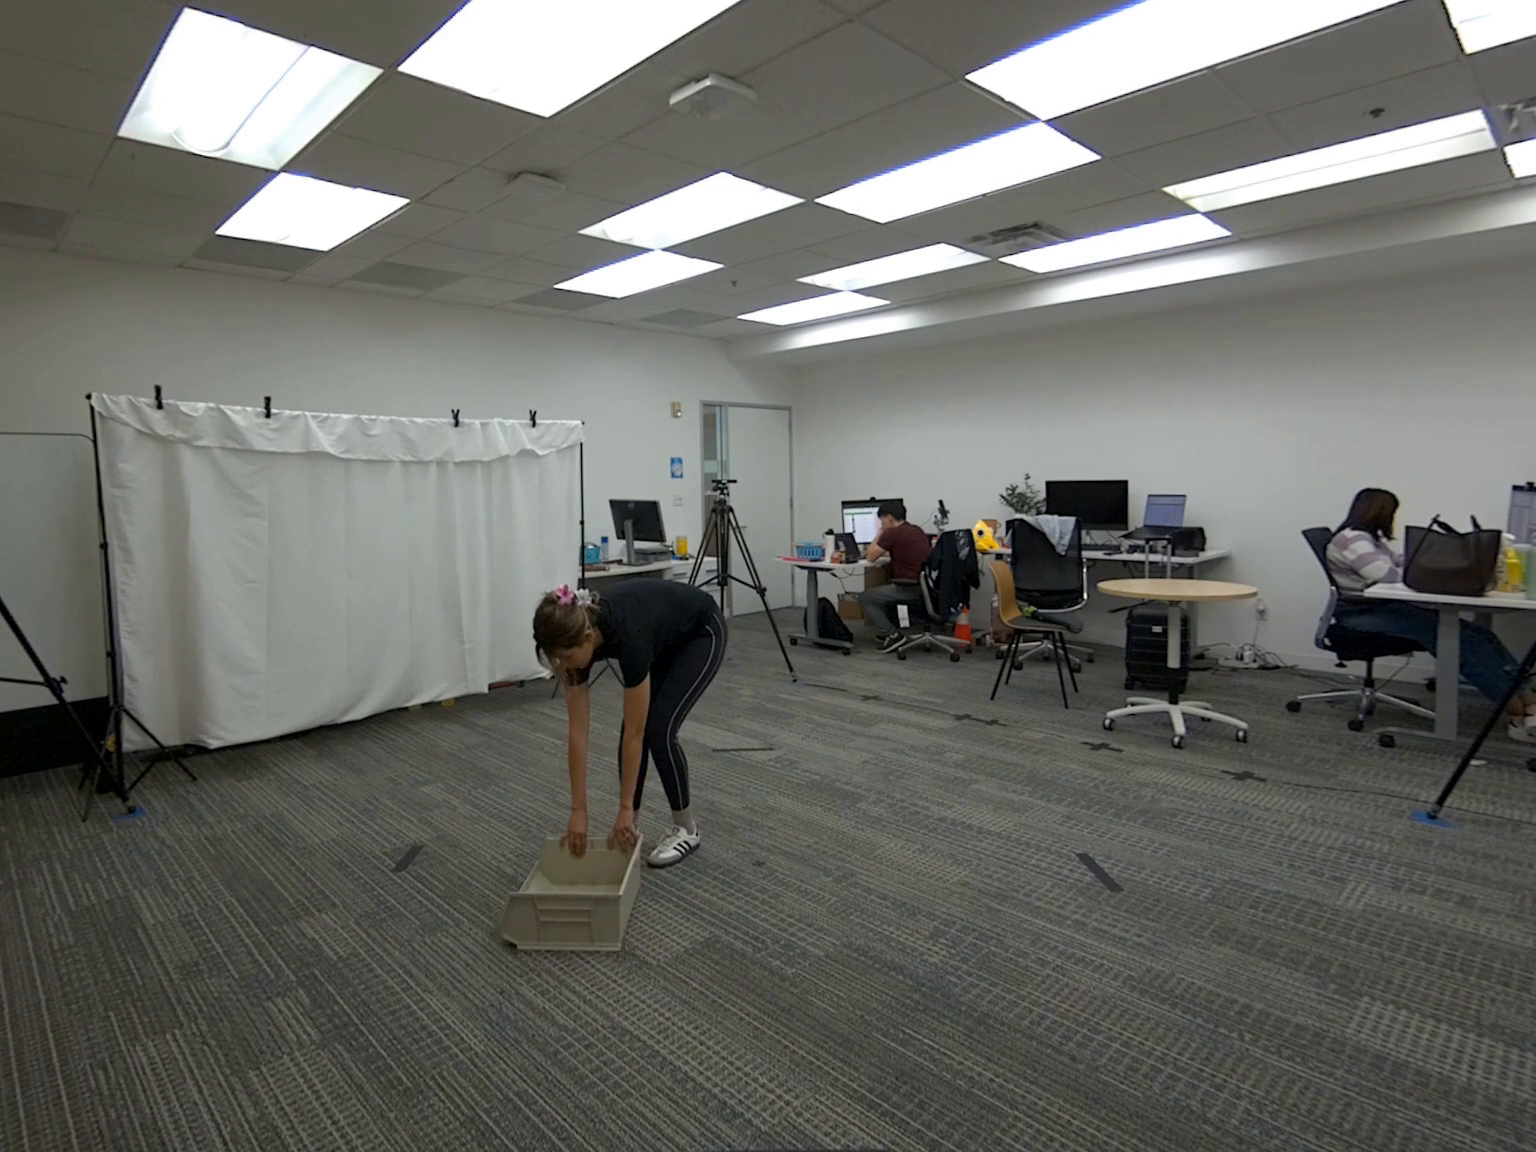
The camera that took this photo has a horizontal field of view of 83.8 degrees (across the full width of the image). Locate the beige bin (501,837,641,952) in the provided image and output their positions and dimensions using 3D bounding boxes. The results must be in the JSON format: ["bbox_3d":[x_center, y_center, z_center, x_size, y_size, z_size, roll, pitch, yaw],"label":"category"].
[{"bbox_3d":[-0.616,1.008,2.756,0.378,0.188,0.423,0,5,1],"label":"beige bin"}]
